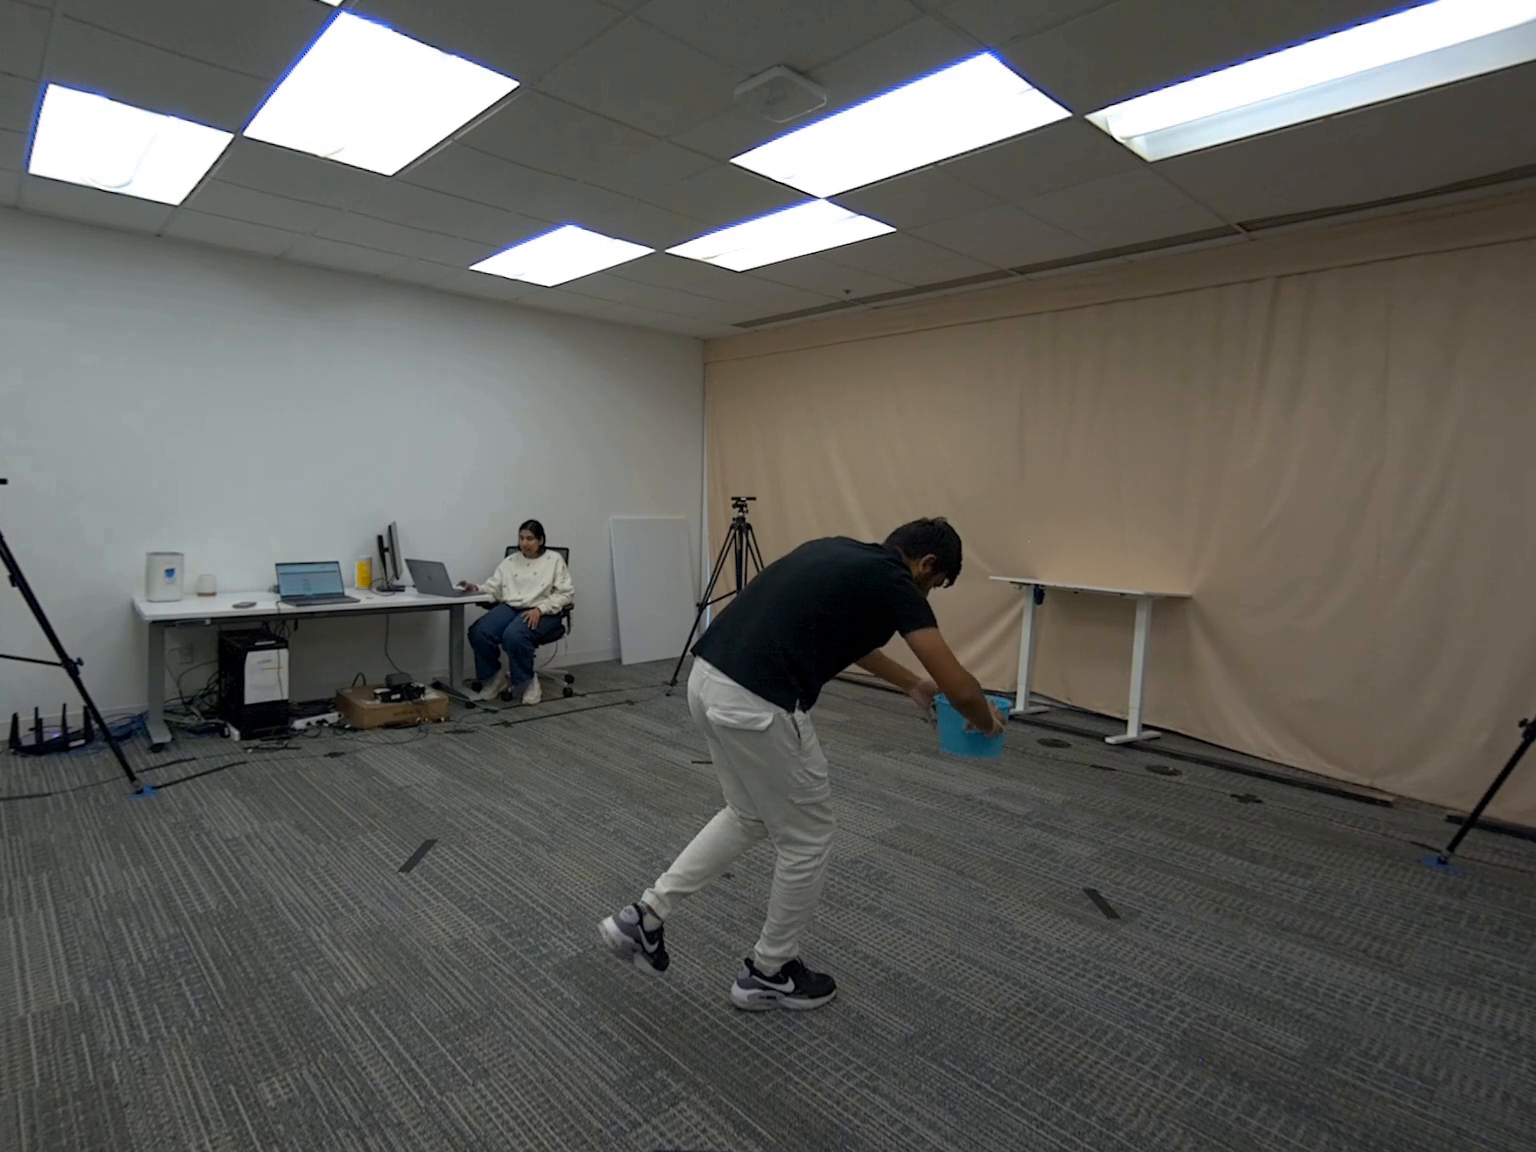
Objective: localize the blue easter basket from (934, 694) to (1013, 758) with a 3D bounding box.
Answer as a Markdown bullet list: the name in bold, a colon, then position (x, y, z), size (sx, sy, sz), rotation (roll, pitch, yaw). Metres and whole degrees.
- **blue easter basket**: position (0.625, 0.443, 2.545), size (0.243, 0.156, 0.244), rotation (1, 2, -1)
